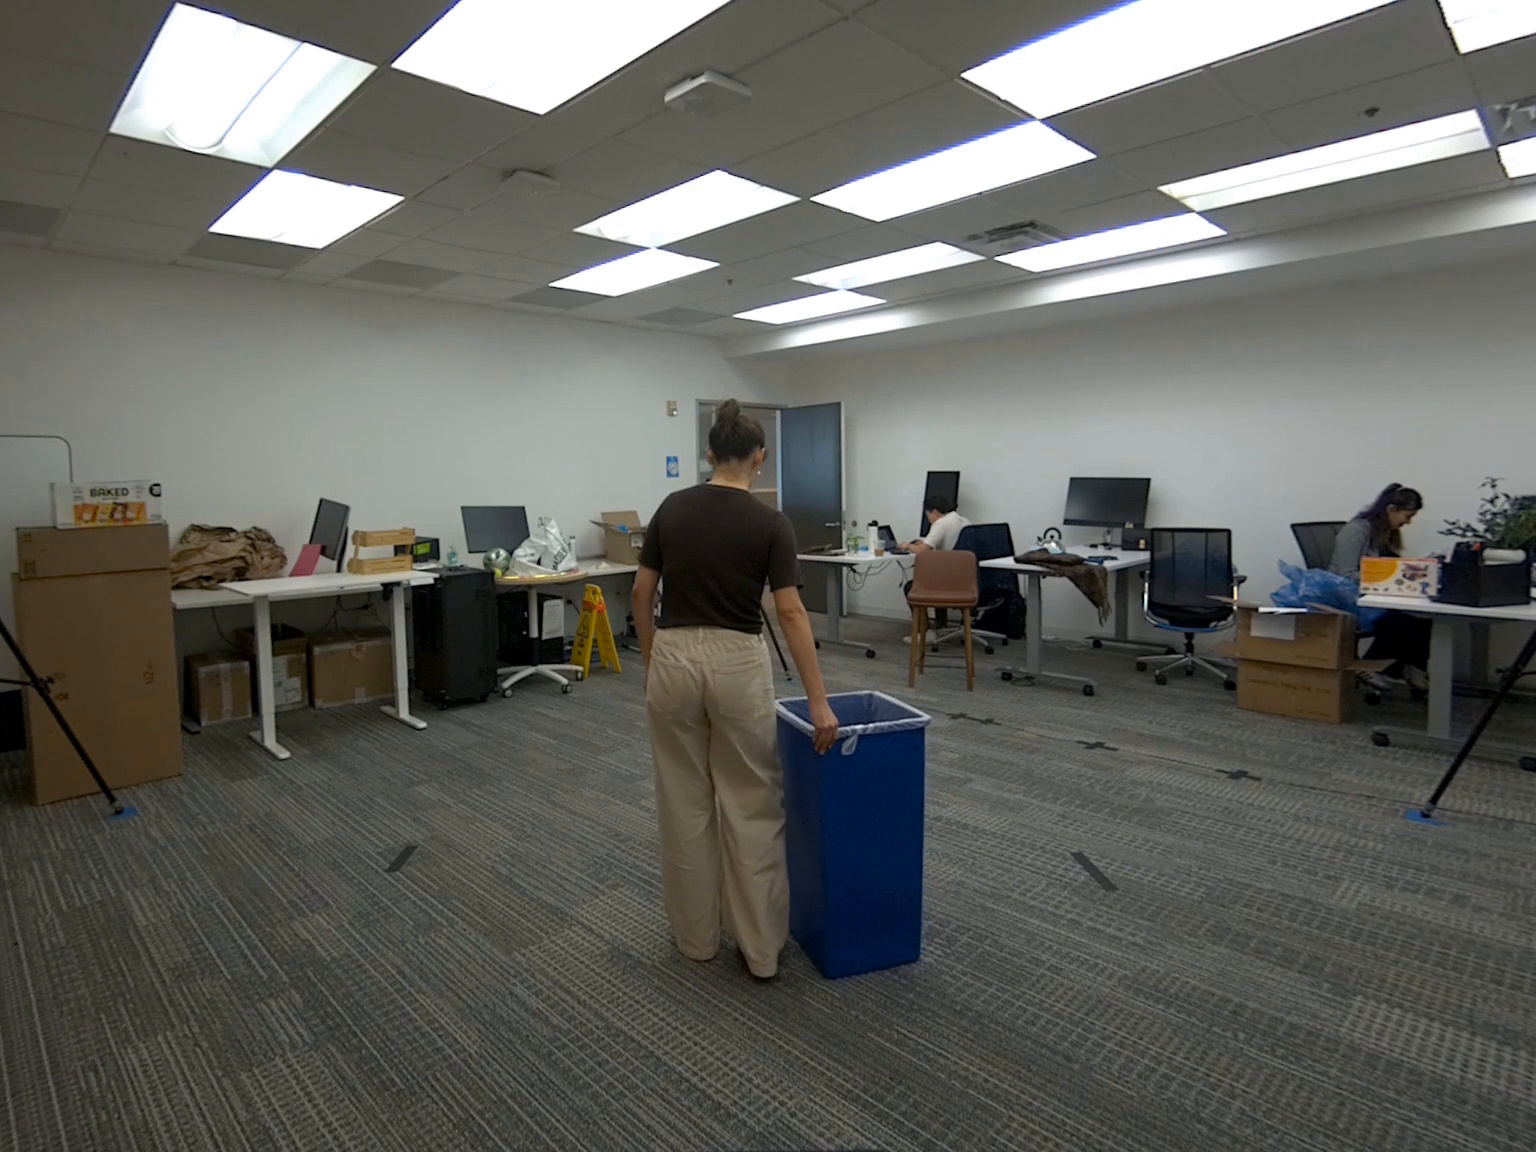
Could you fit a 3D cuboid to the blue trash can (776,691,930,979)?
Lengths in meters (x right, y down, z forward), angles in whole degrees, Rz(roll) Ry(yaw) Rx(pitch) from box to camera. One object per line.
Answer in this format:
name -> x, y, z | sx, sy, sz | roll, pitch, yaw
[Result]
blue trash can -> 0.251, 0.743, 2.544 | 0.368, 0.711, 0.386 | -3, 4, -20
